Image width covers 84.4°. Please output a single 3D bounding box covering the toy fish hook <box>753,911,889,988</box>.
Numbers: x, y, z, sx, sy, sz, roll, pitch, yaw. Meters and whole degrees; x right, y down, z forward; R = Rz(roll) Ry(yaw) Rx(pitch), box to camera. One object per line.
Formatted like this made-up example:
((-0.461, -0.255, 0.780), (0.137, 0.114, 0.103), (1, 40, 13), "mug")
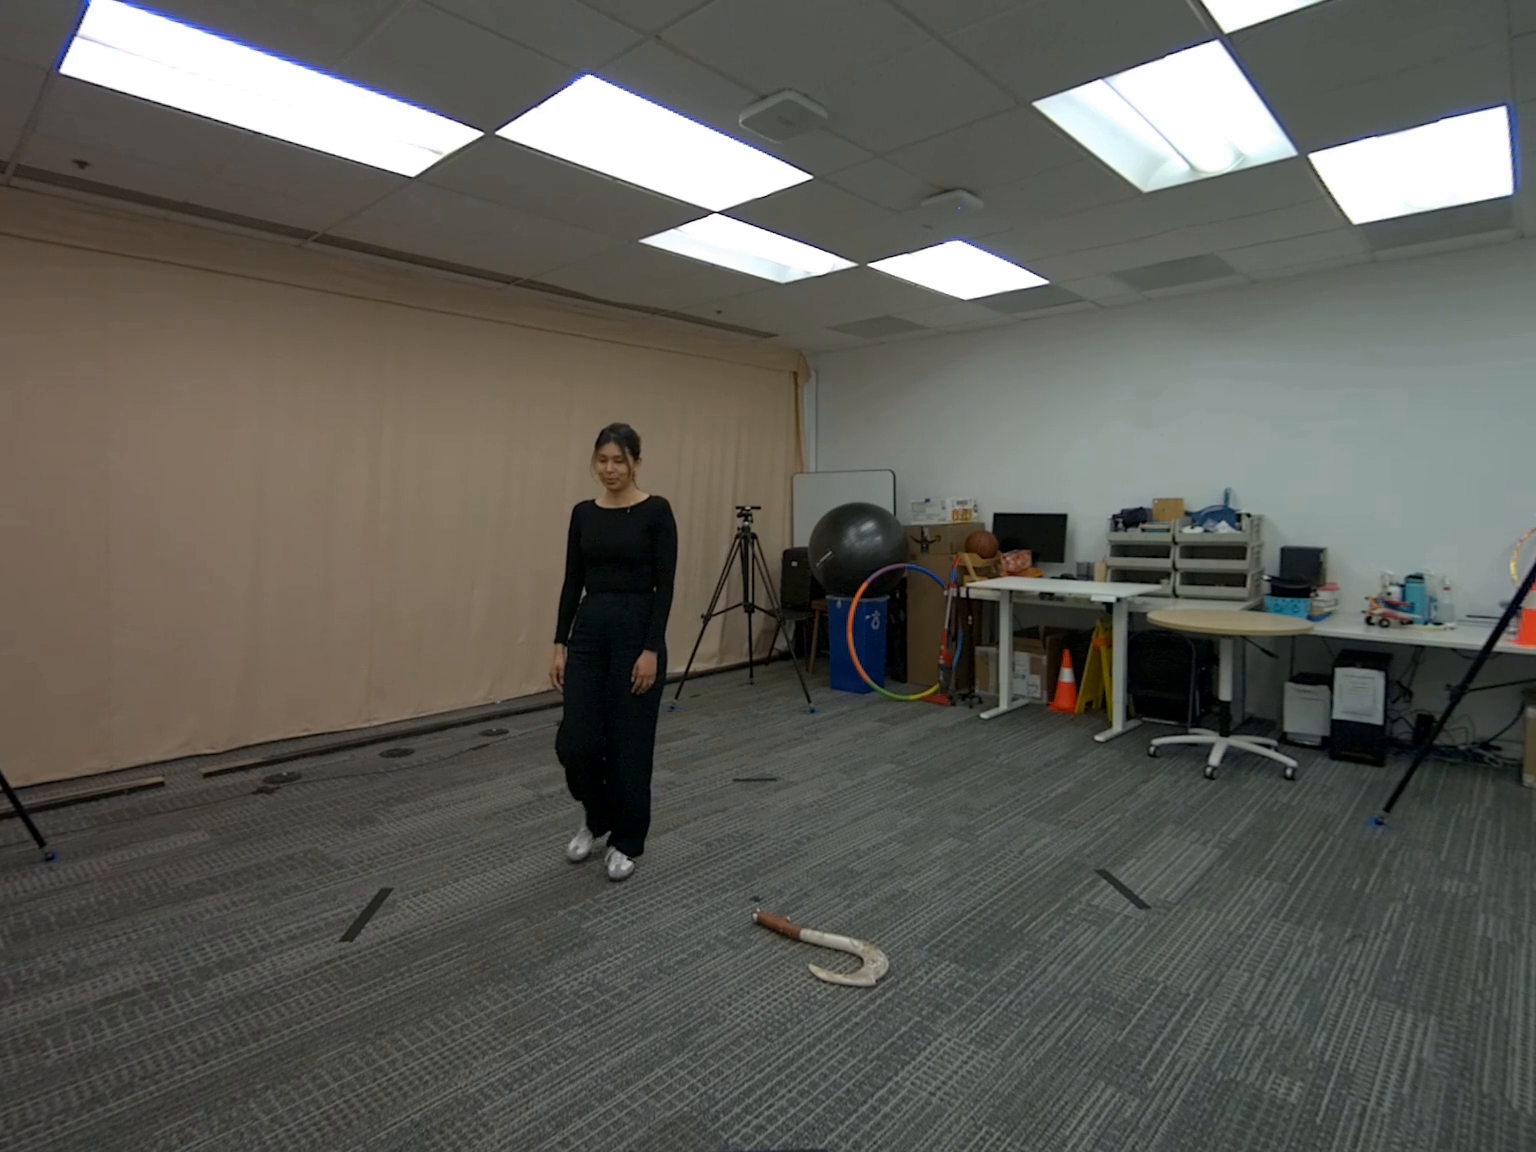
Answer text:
((0.132, 1.153, 2.619), (0.523, 0.048, 0.218), (3, 5, 37), "toy fish hook")
